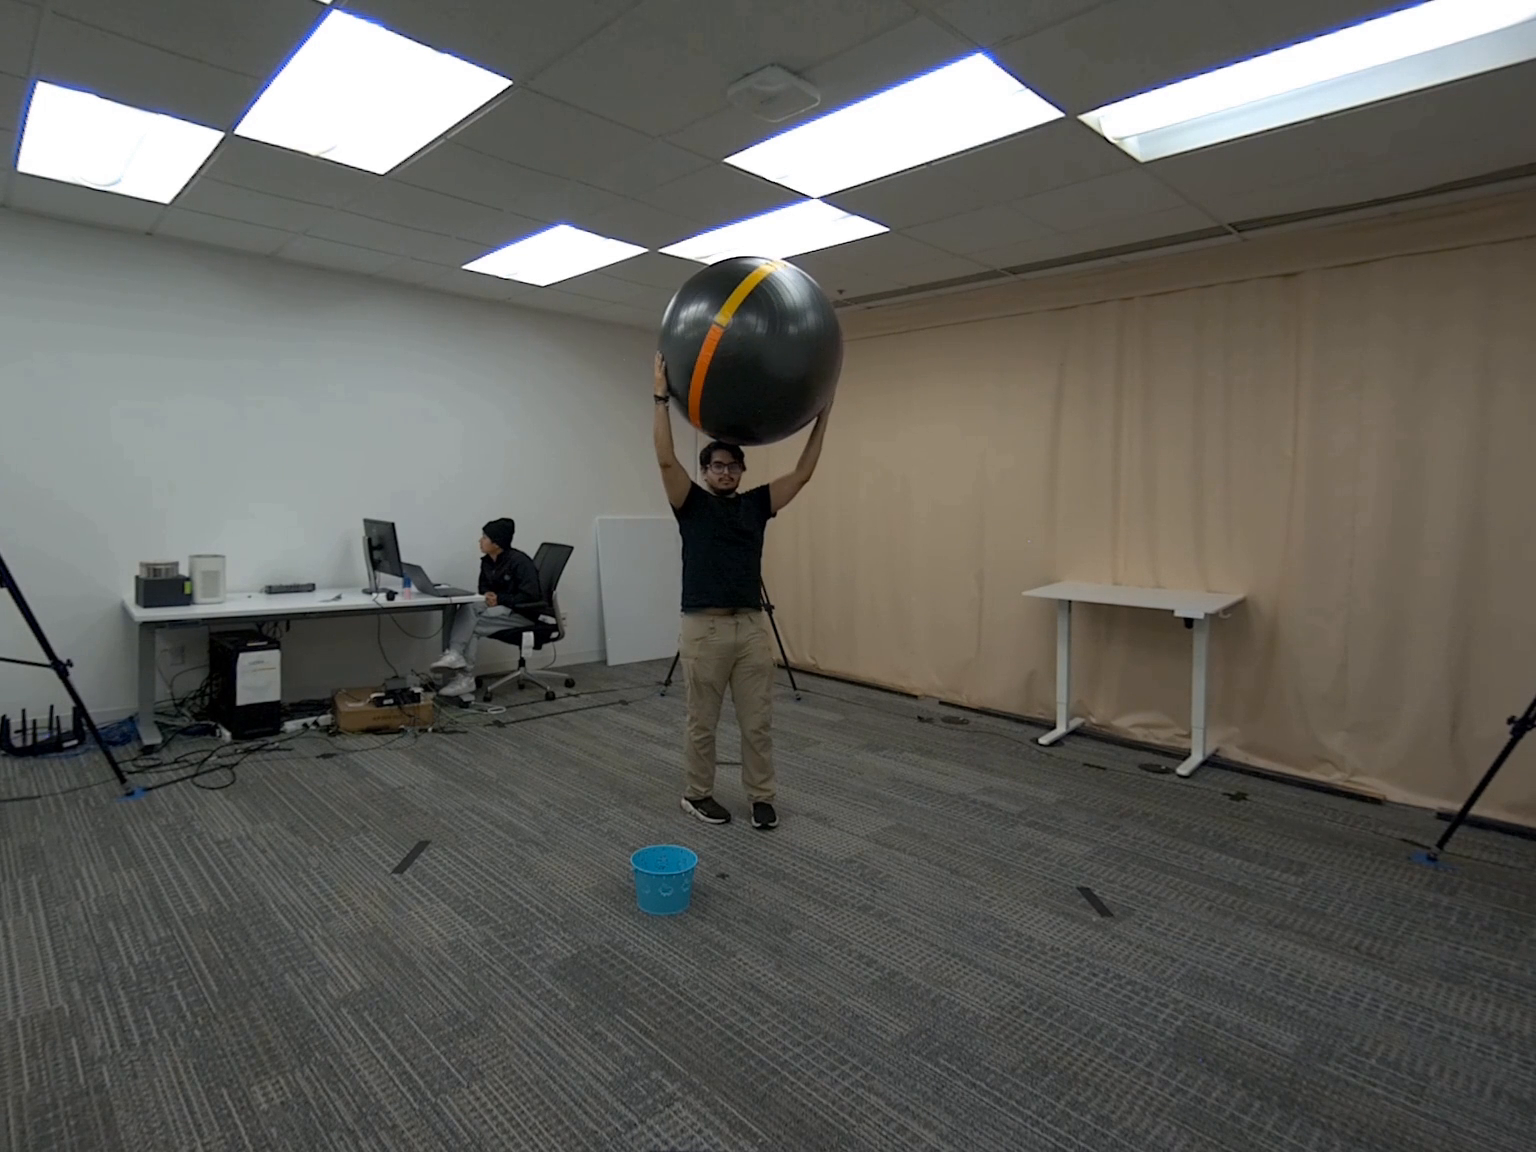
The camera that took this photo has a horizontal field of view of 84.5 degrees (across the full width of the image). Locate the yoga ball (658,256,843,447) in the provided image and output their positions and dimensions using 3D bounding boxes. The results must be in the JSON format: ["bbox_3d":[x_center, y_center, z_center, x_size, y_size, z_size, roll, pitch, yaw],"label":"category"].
[{"bbox_3d":[-0.074,-0.906,3.433,0.757,0.756,0.761,1,4,-1],"label":"yoga ball"}]
